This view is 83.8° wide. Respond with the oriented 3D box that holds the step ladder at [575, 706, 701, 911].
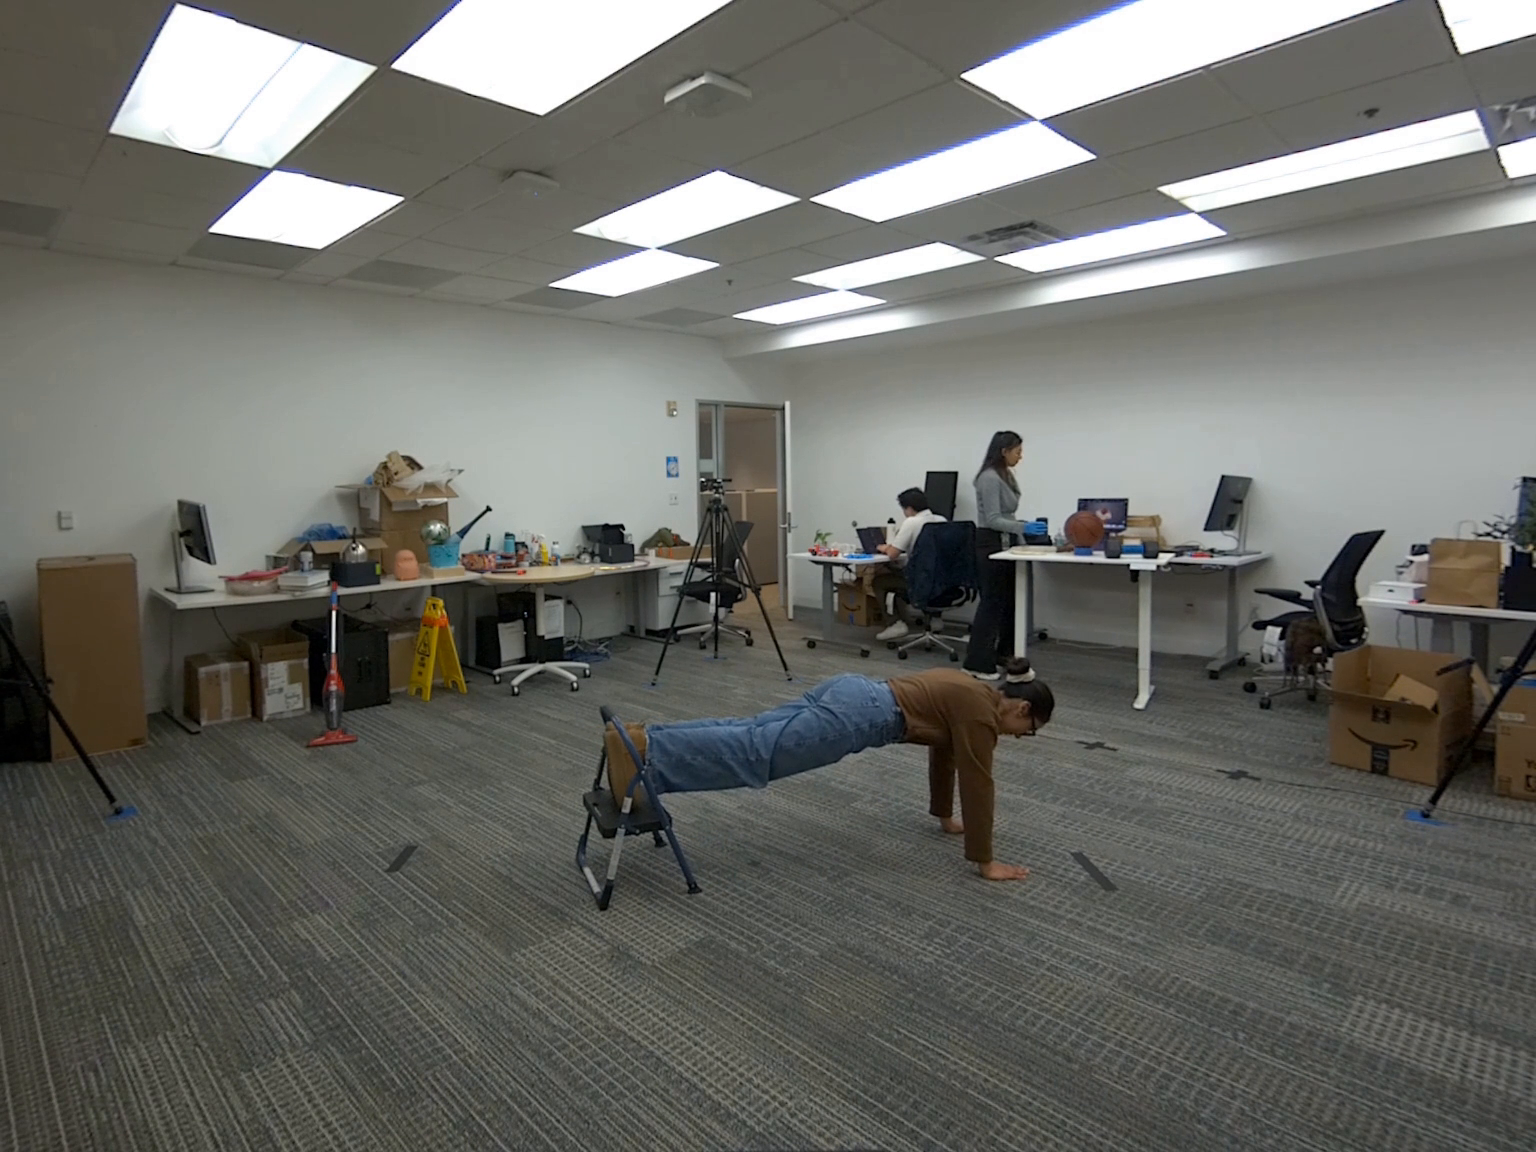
[{"bbox_3d":[-0.472,0.762,3.009,0.342,0.604,0.441,-3,5,-24],"label":"step ladder"}]
